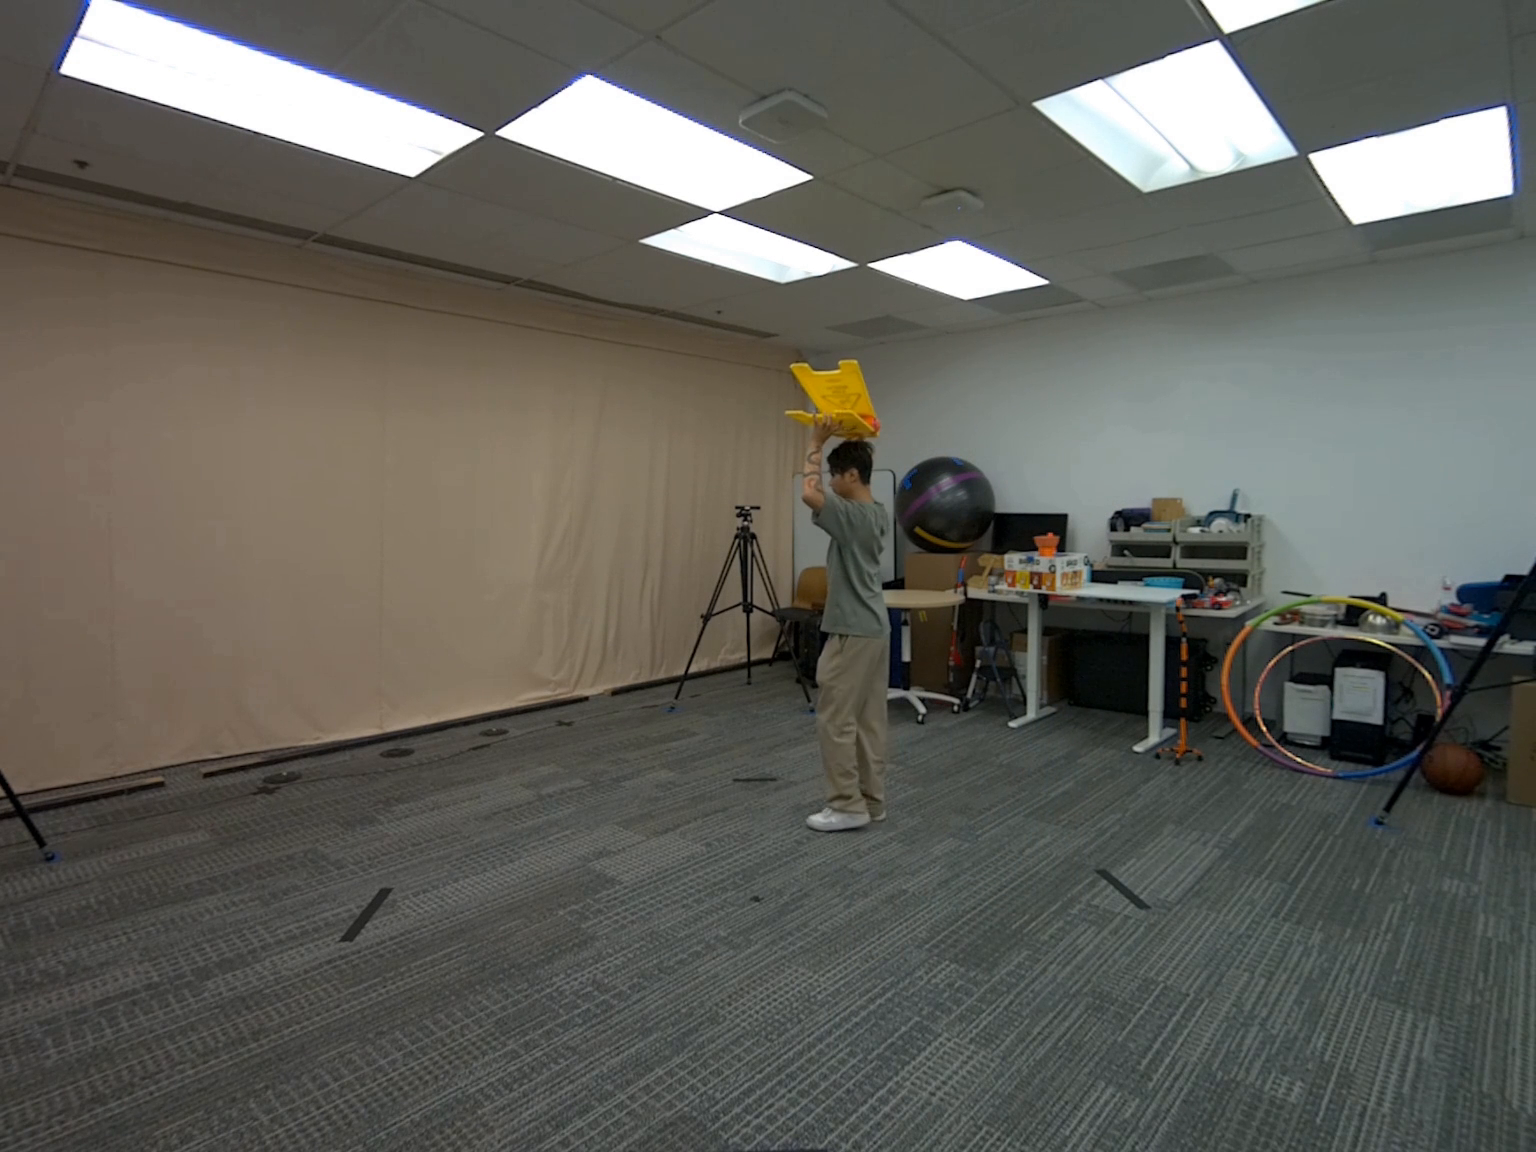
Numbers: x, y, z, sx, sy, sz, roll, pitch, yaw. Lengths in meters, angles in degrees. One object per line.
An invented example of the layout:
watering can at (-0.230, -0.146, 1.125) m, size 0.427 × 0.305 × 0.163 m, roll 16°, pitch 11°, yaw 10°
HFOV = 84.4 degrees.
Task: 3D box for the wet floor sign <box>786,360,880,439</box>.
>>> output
wet floor sign at (0.319, -0.702, 3.669) m, size 0.289 × 0.291 × 0.629 m, roll 2°, pitch -6°, yaw 21°
